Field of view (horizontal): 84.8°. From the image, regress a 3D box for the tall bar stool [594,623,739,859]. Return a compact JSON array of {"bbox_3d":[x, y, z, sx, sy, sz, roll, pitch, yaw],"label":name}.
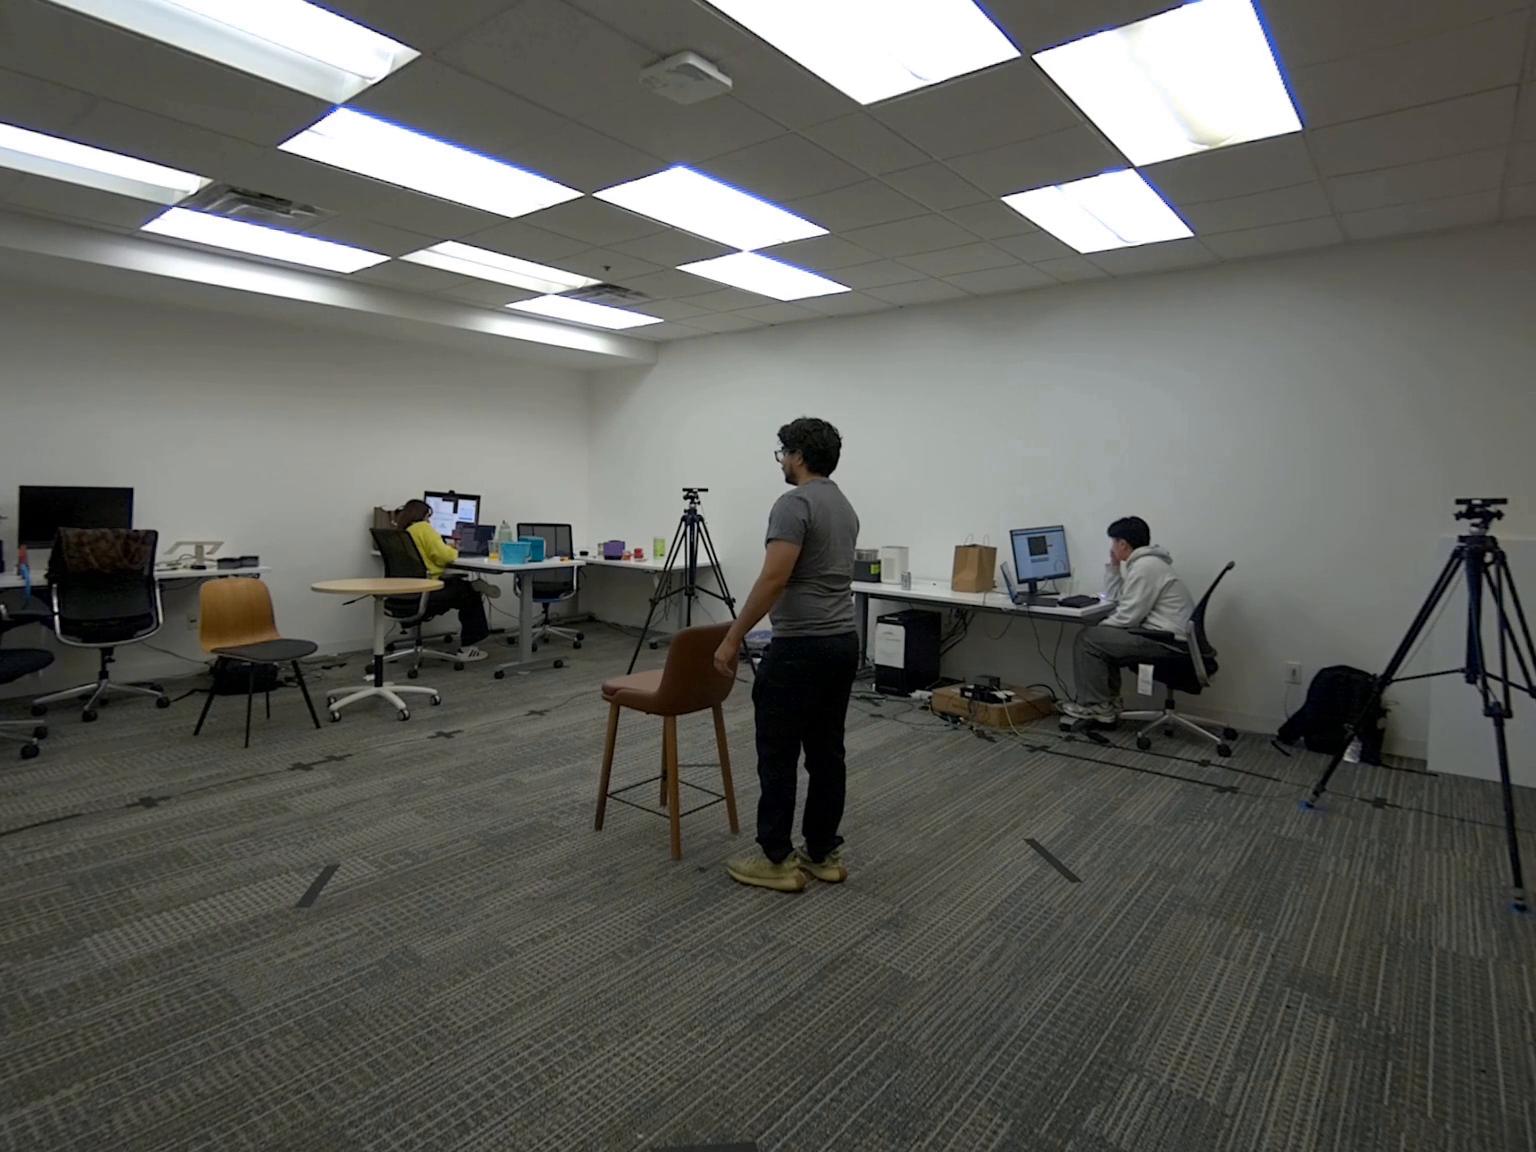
[{"bbox_3d":[-0.405,0.600,3.440,0.484,0.886,0.443,6,5,39],"label":"tall bar stool"}]
